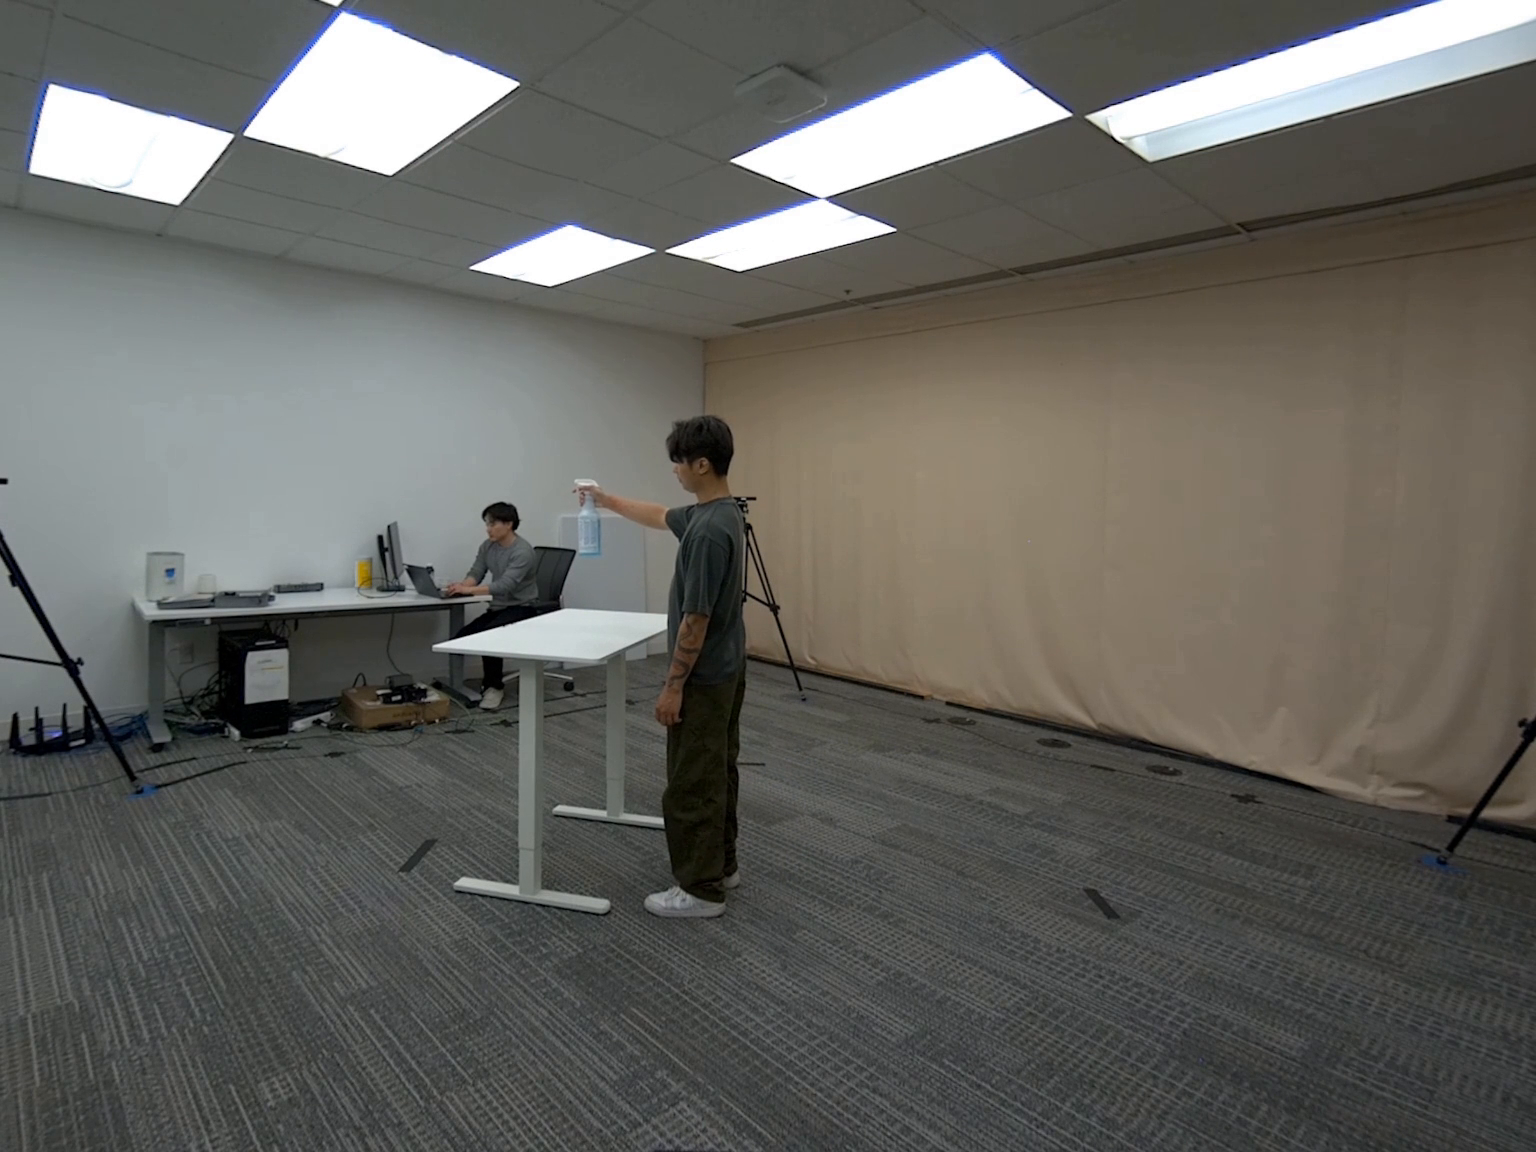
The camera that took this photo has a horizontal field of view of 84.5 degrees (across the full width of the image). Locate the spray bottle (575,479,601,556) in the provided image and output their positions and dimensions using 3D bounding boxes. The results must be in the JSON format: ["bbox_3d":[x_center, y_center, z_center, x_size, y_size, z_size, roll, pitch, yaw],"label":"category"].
[{"bbox_3d":[-0.696,-0.223,3.252,0.091,0.297,0.086,0,3,24],"label":"spray bottle"}]
